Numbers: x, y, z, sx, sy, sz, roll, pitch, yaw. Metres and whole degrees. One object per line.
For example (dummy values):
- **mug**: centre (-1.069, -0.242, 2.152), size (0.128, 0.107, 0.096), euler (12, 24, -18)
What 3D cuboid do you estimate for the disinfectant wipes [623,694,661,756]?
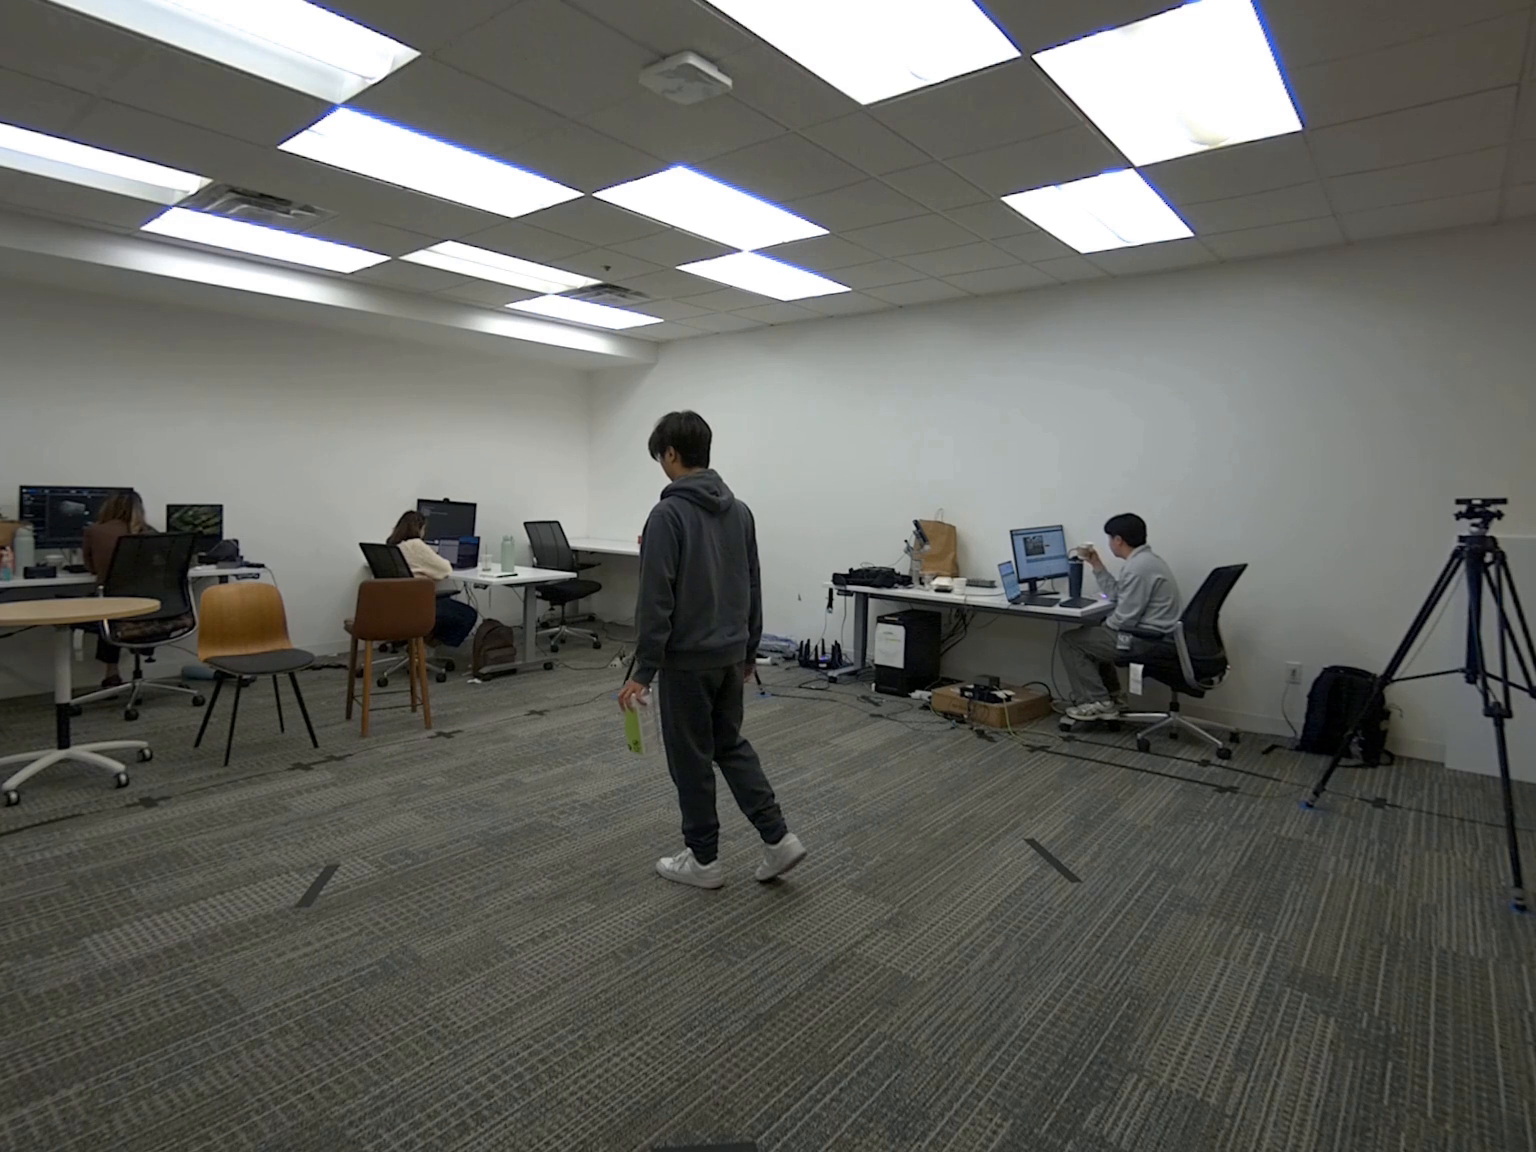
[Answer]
- **disinfectant wipes**: centre (-0.435, 0.495, 2.872), size (0.118, 0.215, 0.119), euler (-6, 8, -1)
